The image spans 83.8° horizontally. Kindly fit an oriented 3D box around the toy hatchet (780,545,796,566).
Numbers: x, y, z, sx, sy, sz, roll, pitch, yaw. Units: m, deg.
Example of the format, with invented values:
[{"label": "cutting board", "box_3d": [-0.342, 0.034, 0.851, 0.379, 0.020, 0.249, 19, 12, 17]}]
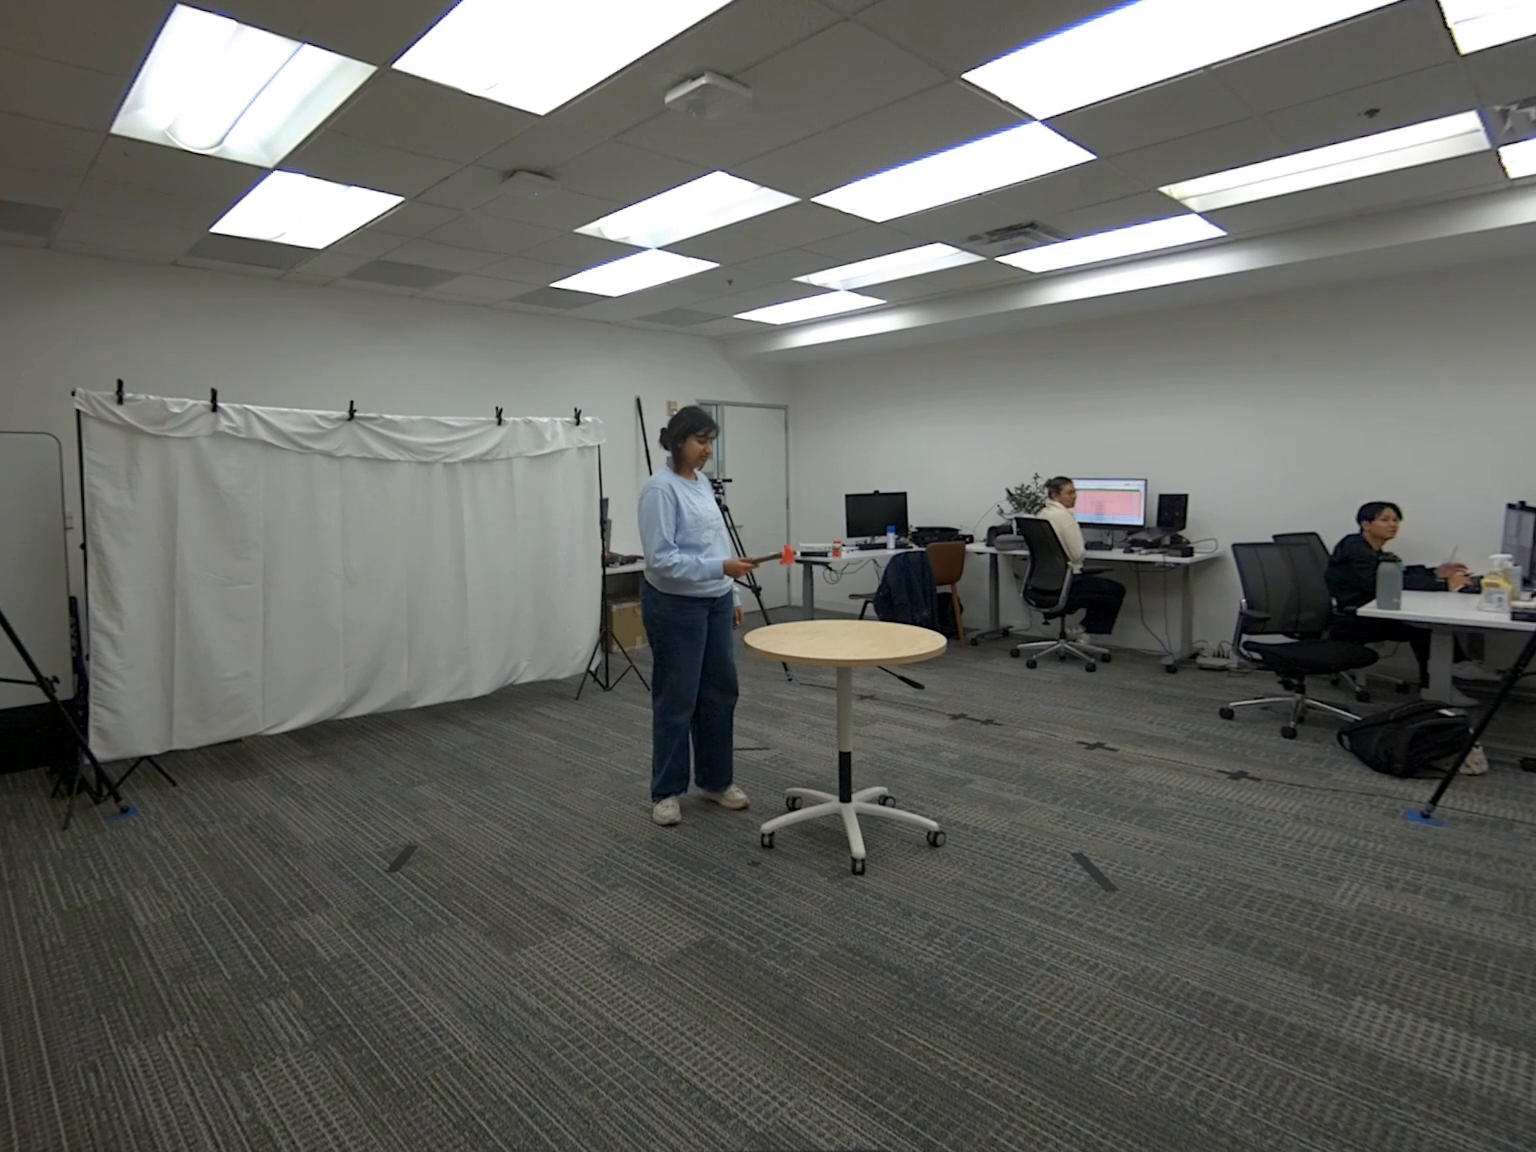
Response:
[{"label": "toy hatchet", "box_3d": [-0.020, -0.038, 3.320, 0.273, 0.030, 0.126, -23, -36, 25]}]
